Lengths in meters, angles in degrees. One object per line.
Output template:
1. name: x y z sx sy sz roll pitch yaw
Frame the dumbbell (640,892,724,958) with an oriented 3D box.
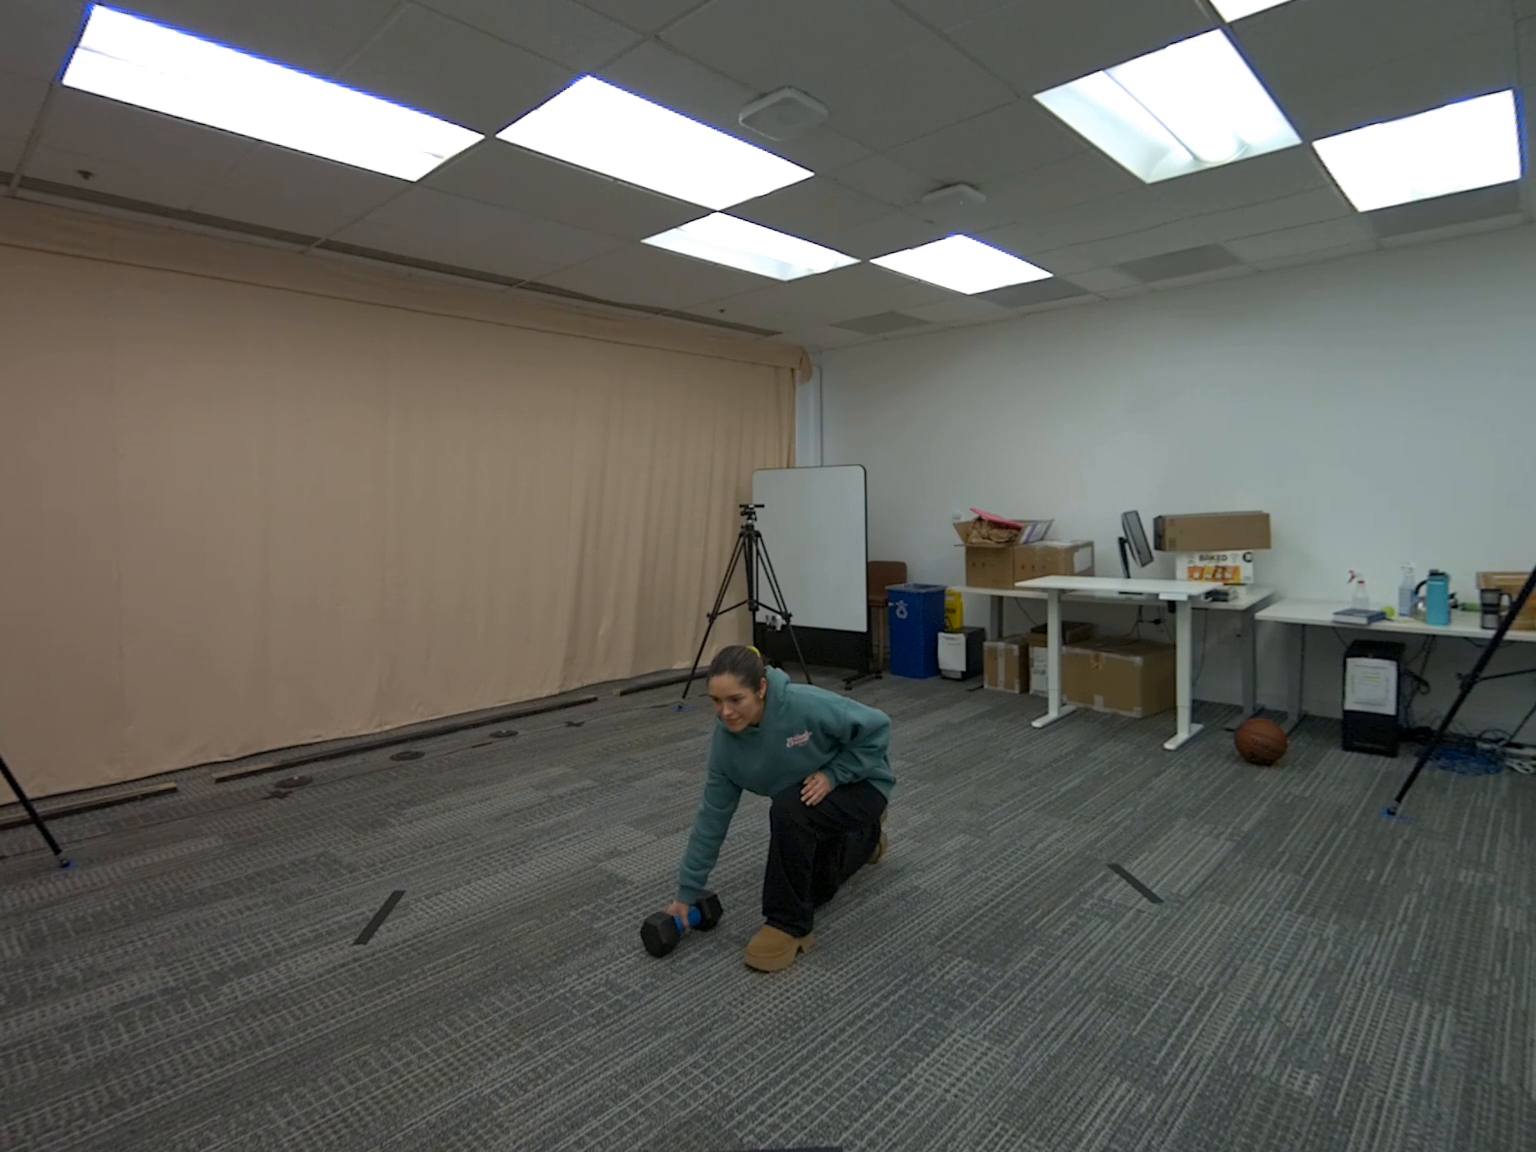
1. dumbbell: -0.275 1.115 2.715 0.285 0.125 0.110 -6 -27 -47
